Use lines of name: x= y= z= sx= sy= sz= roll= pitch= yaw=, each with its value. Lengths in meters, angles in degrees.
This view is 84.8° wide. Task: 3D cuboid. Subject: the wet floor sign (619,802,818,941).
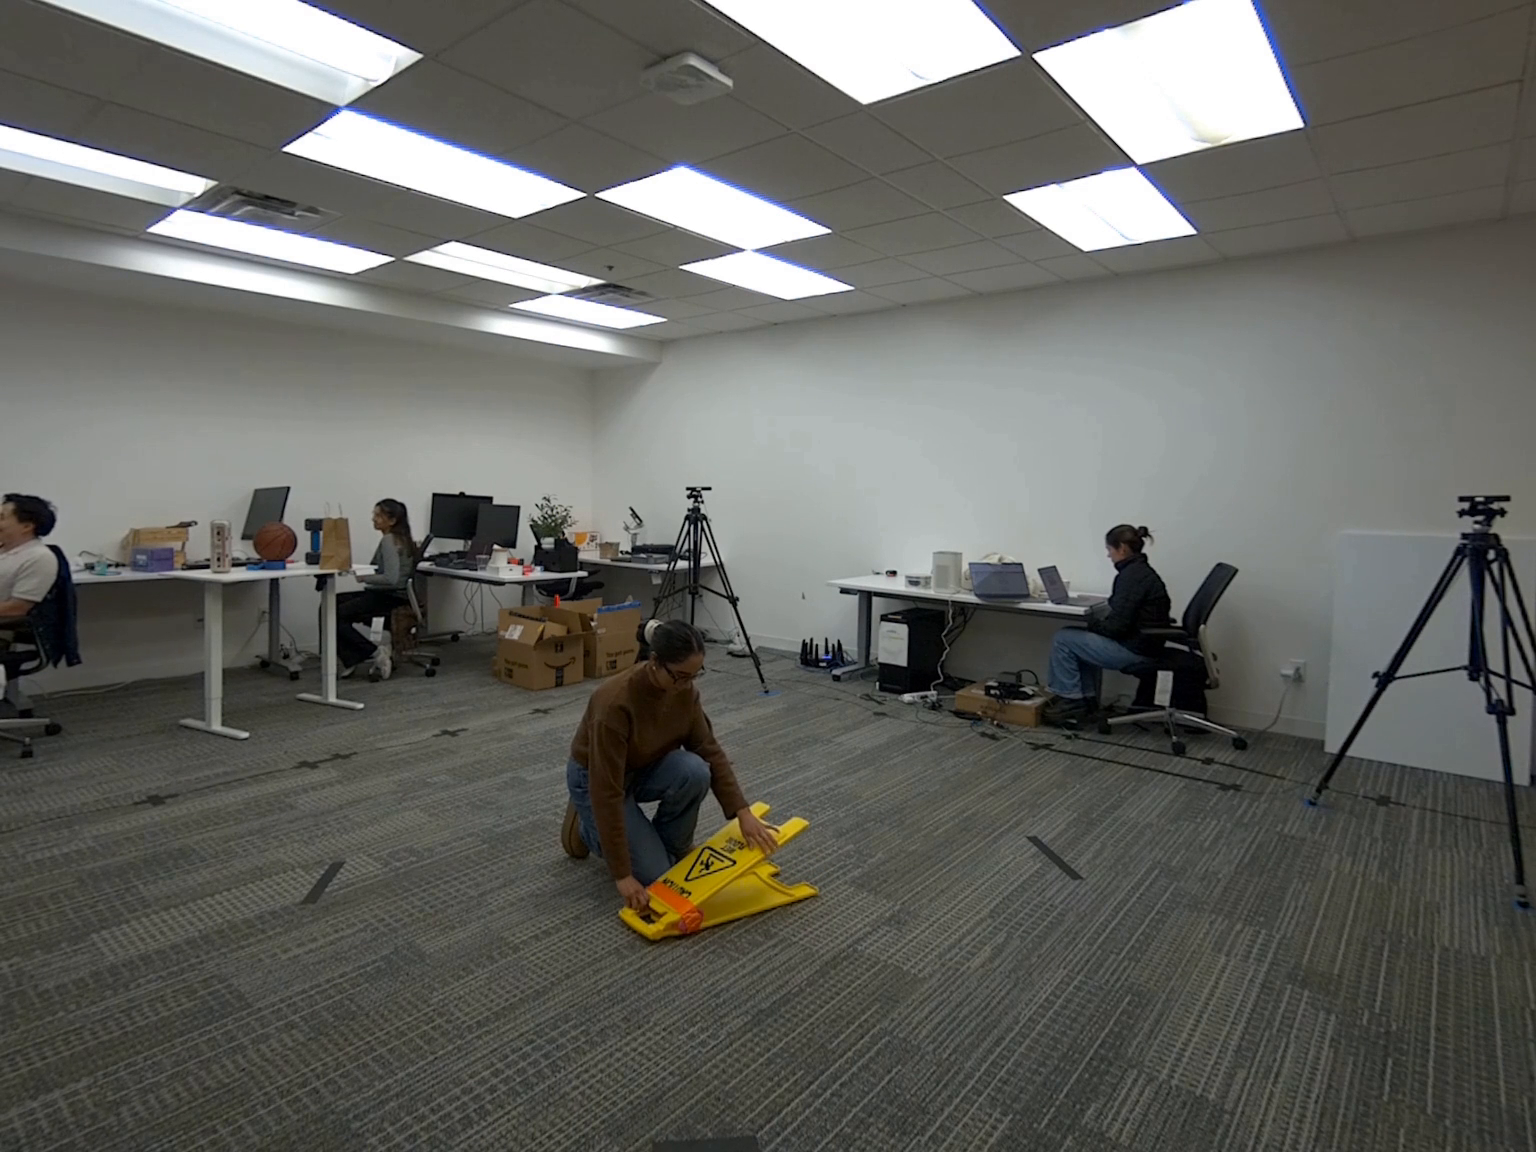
wet floor sign: x=-0.181 y=1.015 z=2.822 sx=0.631 sy=0.287 sz=0.291 roll=-14 pitch=11 yaw=-36
